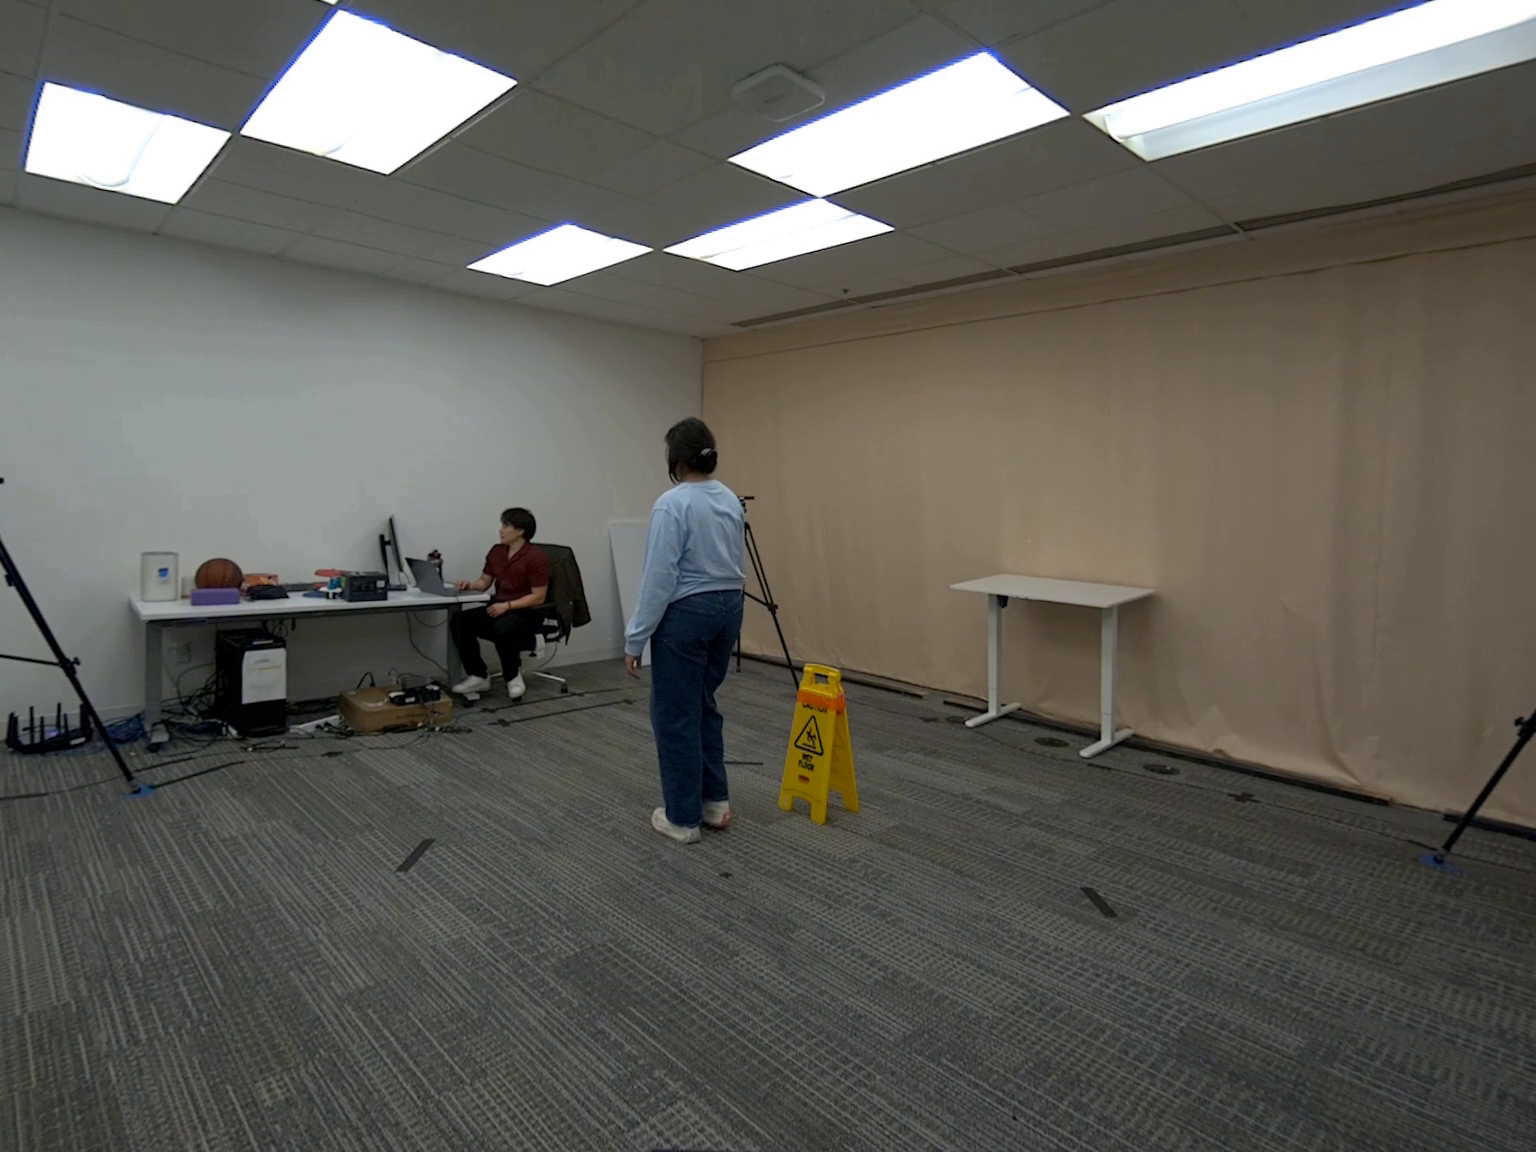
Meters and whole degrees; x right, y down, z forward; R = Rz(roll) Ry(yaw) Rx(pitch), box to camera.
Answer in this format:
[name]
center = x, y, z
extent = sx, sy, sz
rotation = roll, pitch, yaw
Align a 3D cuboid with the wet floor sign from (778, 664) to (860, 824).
[wet floor sign]
center = 0.222, 0.729, 3.784
extent = 0.283, 0.645, 0.289
rotation = -1, 4, -42
